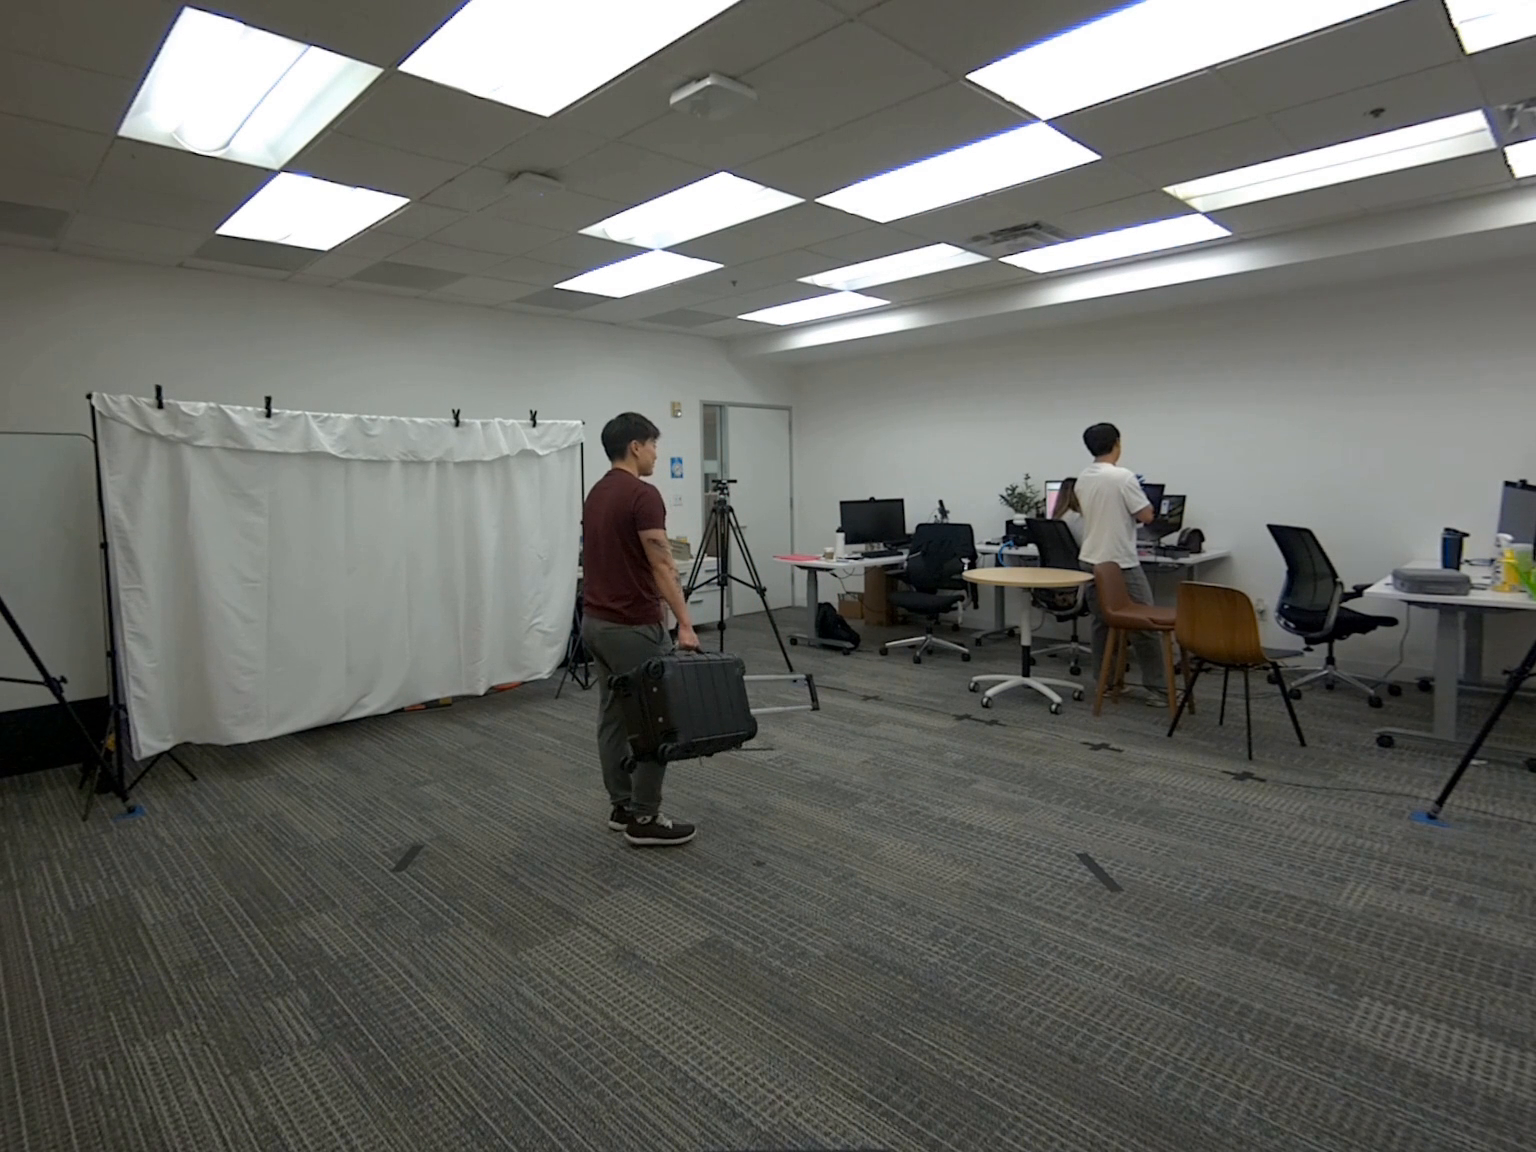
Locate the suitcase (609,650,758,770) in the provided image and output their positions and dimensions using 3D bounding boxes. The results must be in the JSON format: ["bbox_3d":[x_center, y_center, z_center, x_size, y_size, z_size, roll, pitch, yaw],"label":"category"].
[{"bbox_3d":[-0.174,0.498,3.345,0.261,0.390,0.949,-22,-16,33],"label":"suitcase"}]
